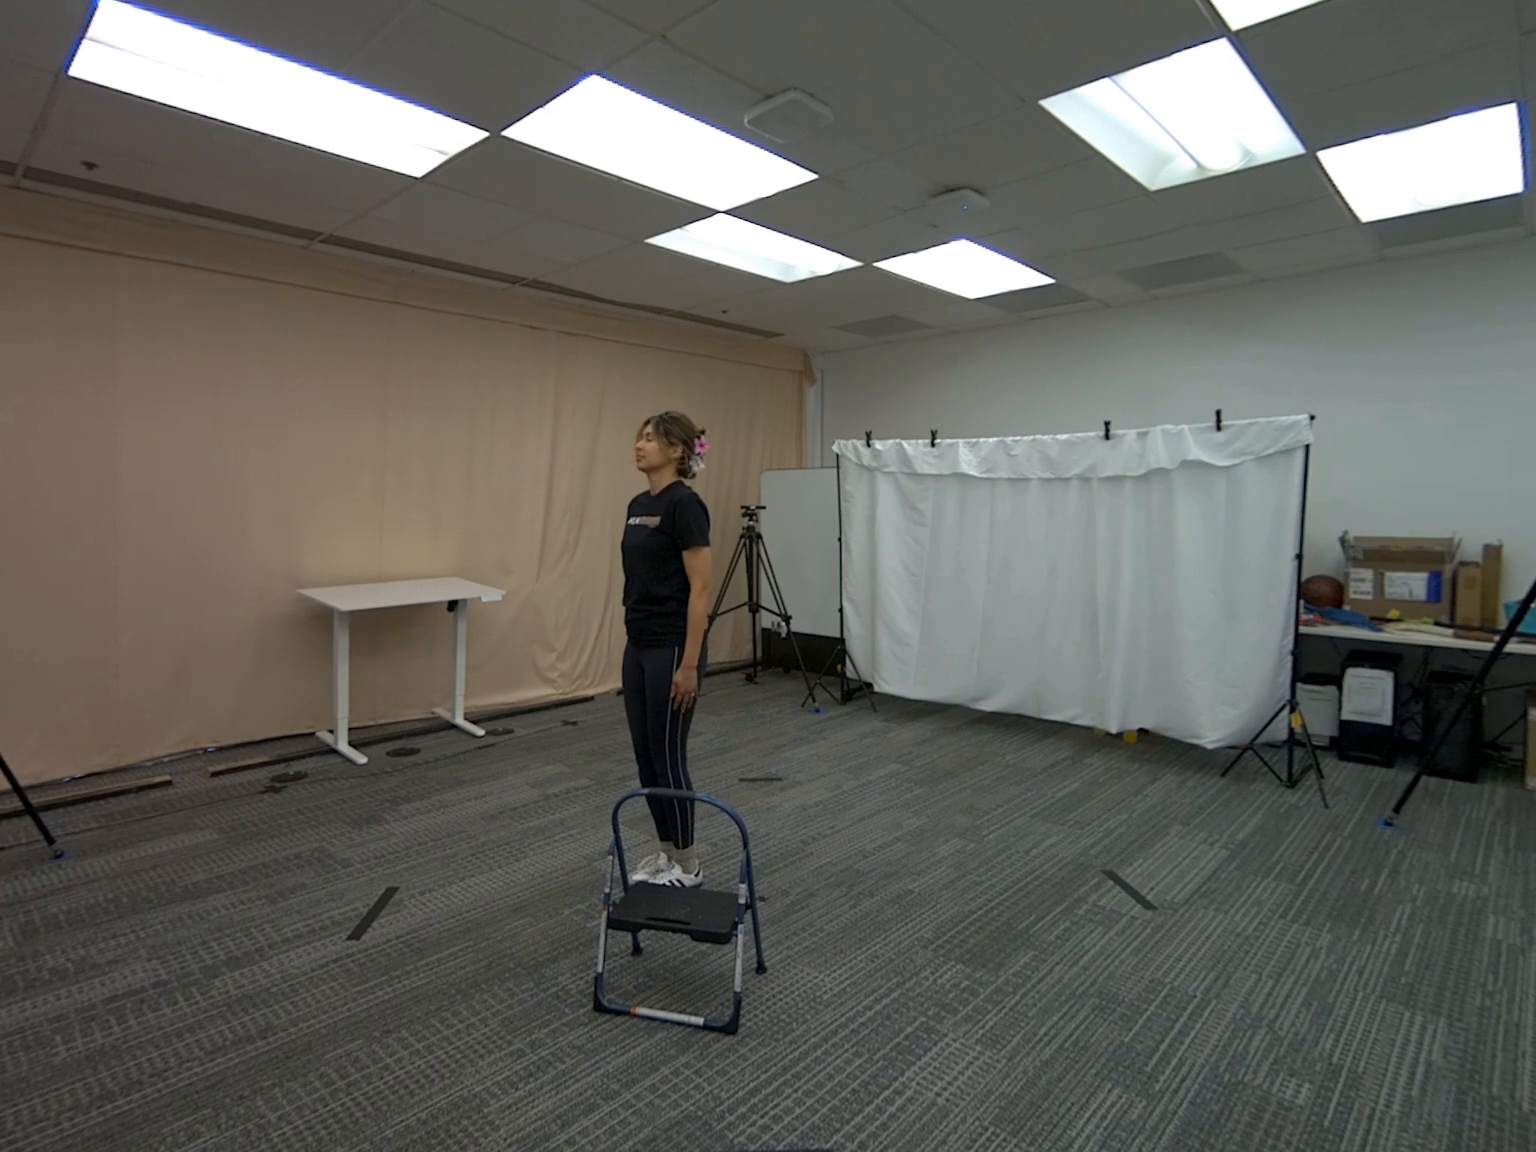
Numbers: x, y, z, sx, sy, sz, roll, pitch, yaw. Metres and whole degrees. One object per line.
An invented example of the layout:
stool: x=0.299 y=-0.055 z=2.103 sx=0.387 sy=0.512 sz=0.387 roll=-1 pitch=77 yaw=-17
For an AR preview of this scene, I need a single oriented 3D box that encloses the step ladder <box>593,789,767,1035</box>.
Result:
step ladder: x=-0.244 y=0.888 z=2.415 sx=0.438 sy=0.605 sz=0.344 roll=1 pitch=3 yaw=14
